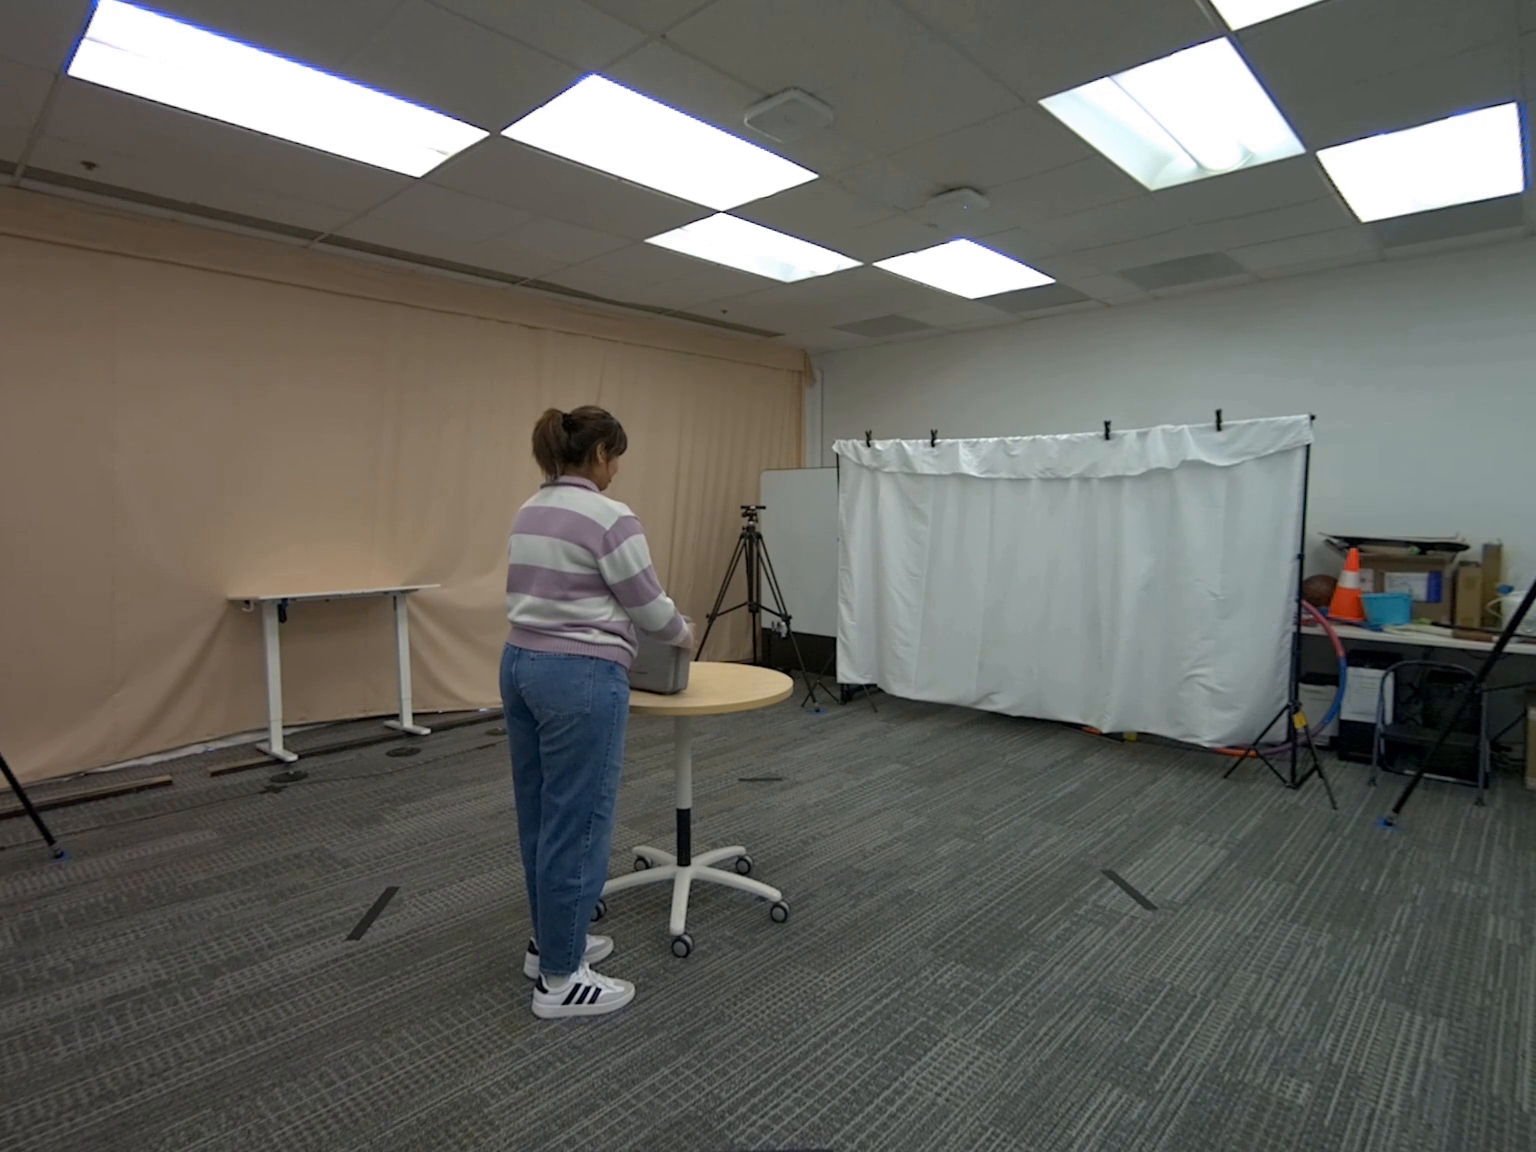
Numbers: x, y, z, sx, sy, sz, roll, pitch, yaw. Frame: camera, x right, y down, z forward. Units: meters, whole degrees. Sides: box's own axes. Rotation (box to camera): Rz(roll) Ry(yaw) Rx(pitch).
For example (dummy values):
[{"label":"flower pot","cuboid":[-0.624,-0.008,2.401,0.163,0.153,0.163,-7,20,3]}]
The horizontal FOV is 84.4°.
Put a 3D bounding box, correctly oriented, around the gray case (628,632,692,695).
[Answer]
[{"label":"gray case","cuboid":[-0.384,0.243,2.781,0.265,0.261,0.101,1,-4,39]}]
